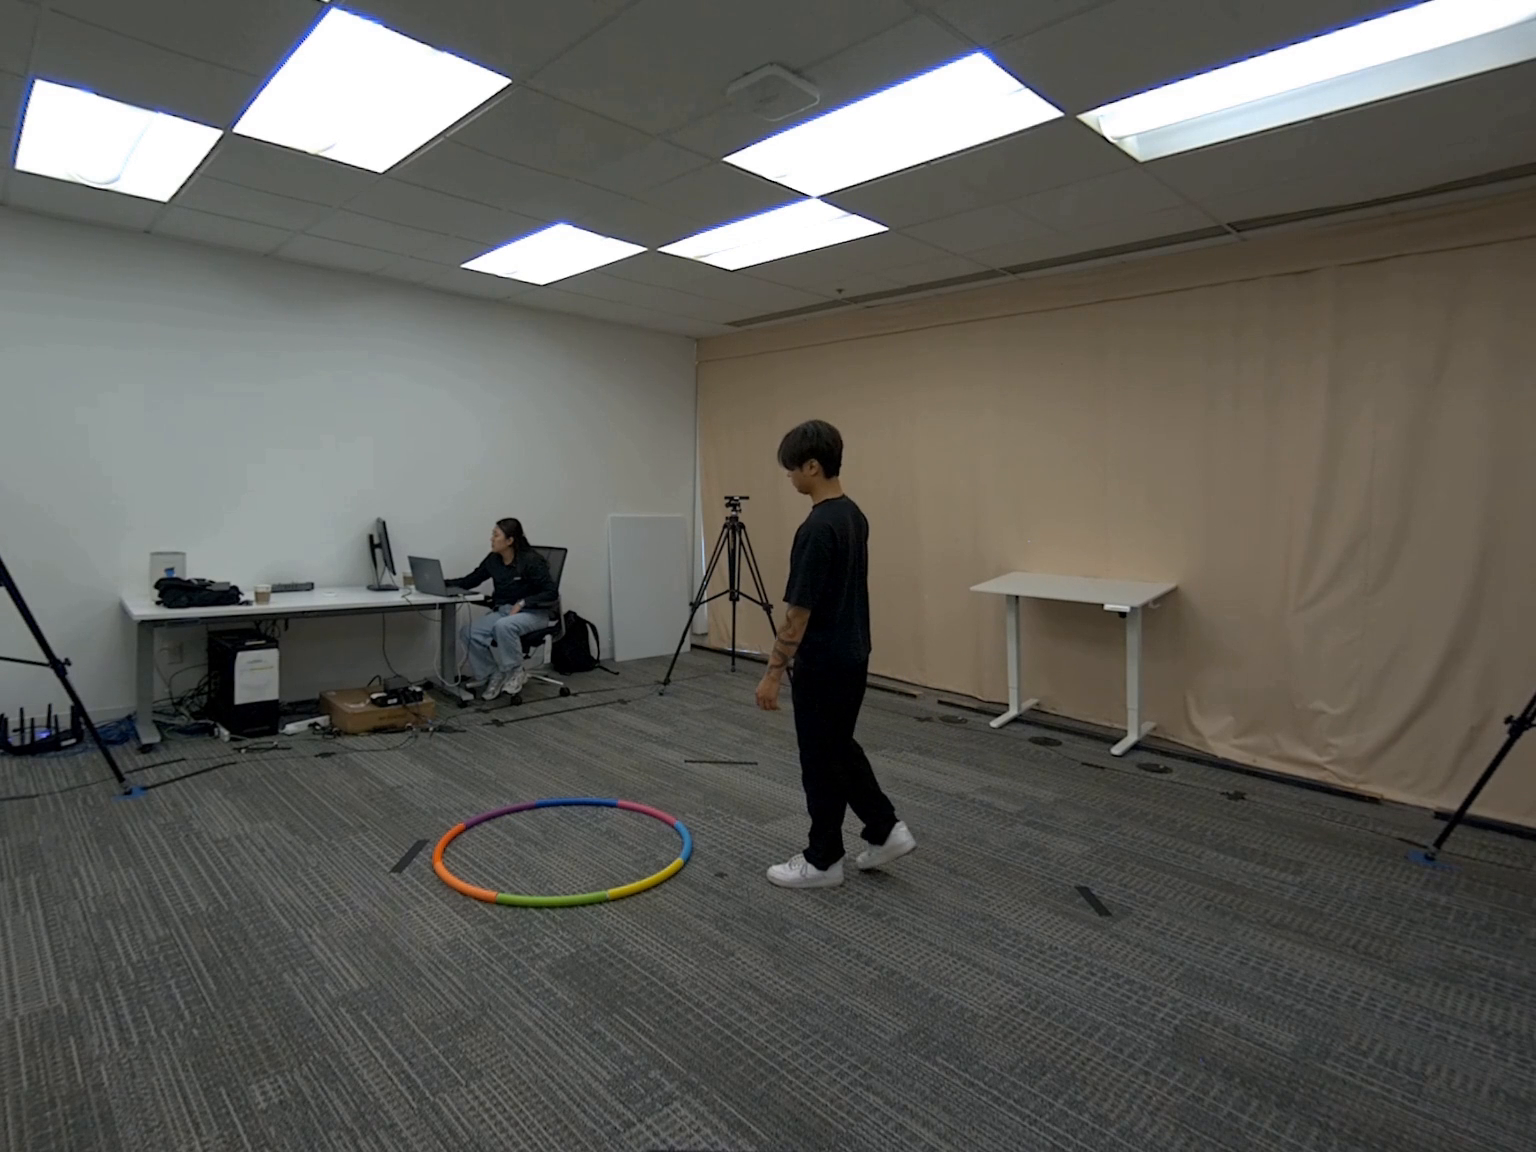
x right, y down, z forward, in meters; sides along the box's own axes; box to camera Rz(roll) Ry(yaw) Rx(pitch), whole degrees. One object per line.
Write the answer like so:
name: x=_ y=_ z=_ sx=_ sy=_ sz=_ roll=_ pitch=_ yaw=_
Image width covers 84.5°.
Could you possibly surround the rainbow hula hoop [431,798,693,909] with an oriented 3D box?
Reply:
rainbow hula hoop: x=-0.795 y=1.043 z=3.302 sx=0.978 sy=0.035 sz=0.982 roll=1 pitch=5 yaw=-1
